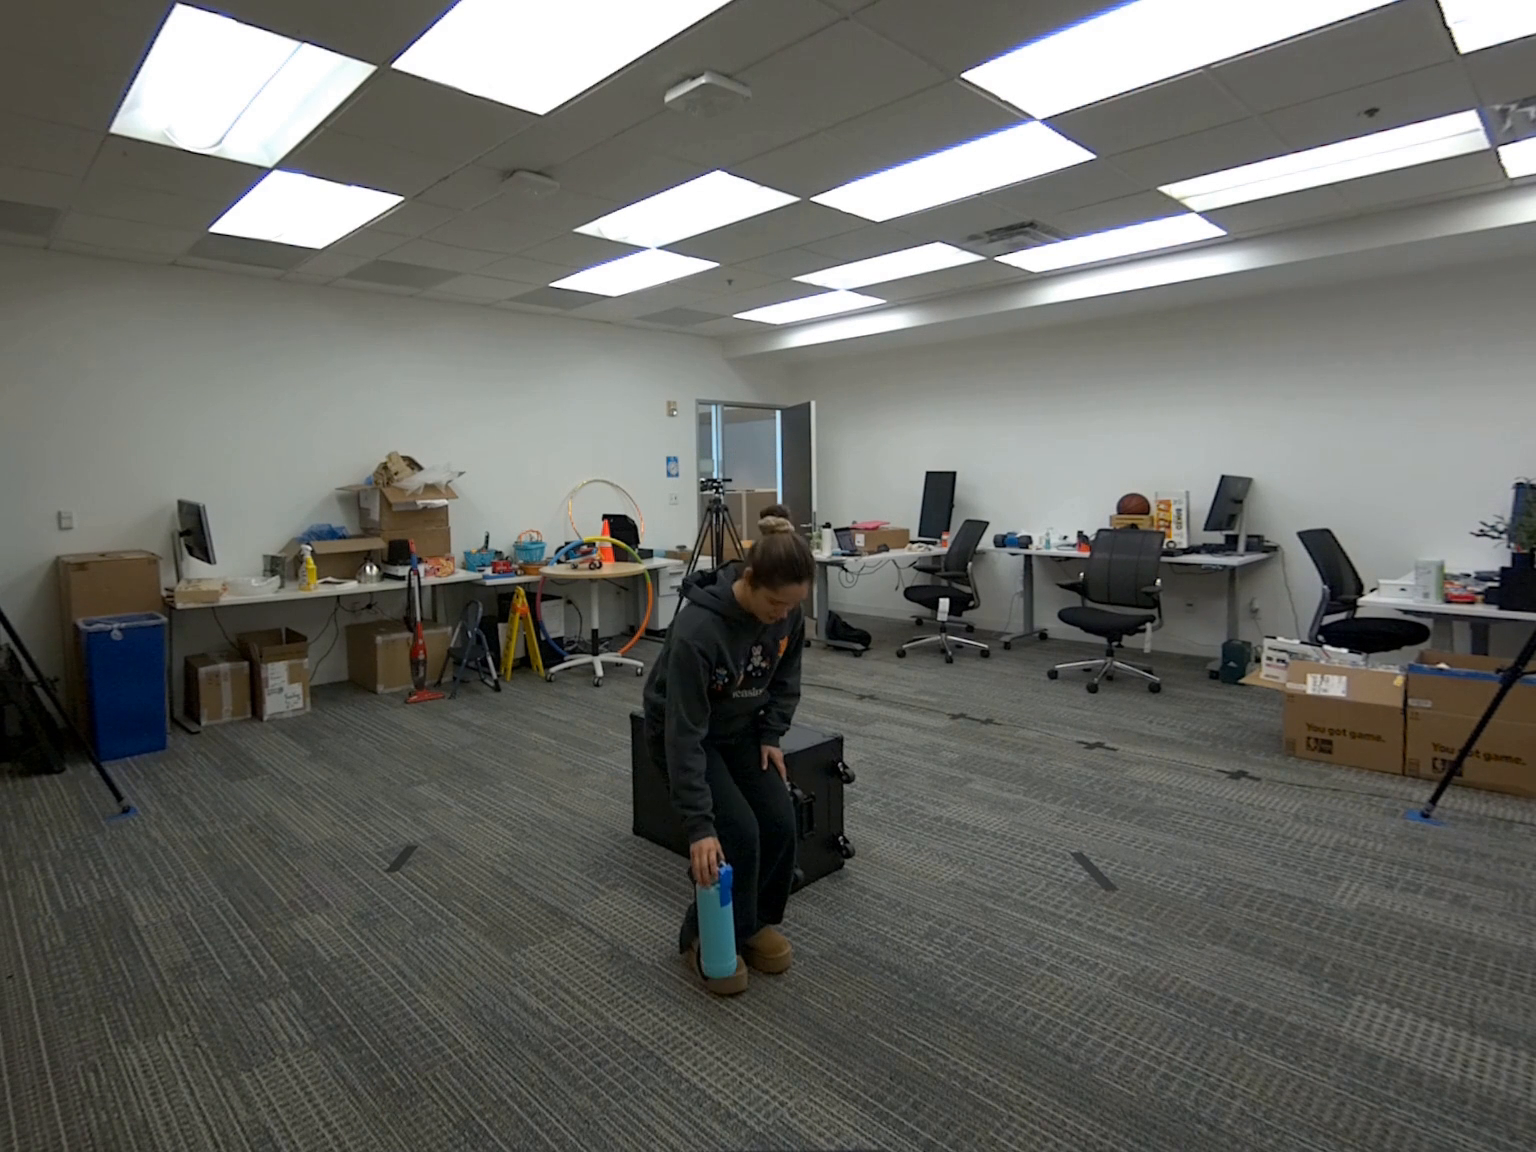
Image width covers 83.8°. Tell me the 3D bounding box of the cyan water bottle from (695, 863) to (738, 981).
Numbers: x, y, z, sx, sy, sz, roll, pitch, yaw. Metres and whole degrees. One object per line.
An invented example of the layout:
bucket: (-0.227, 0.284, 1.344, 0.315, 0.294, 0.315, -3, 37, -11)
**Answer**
cyan water bottle: (-0.130, 0.850, 2.148, 0.092, 0.283, 0.092, -2, 1, -2)
